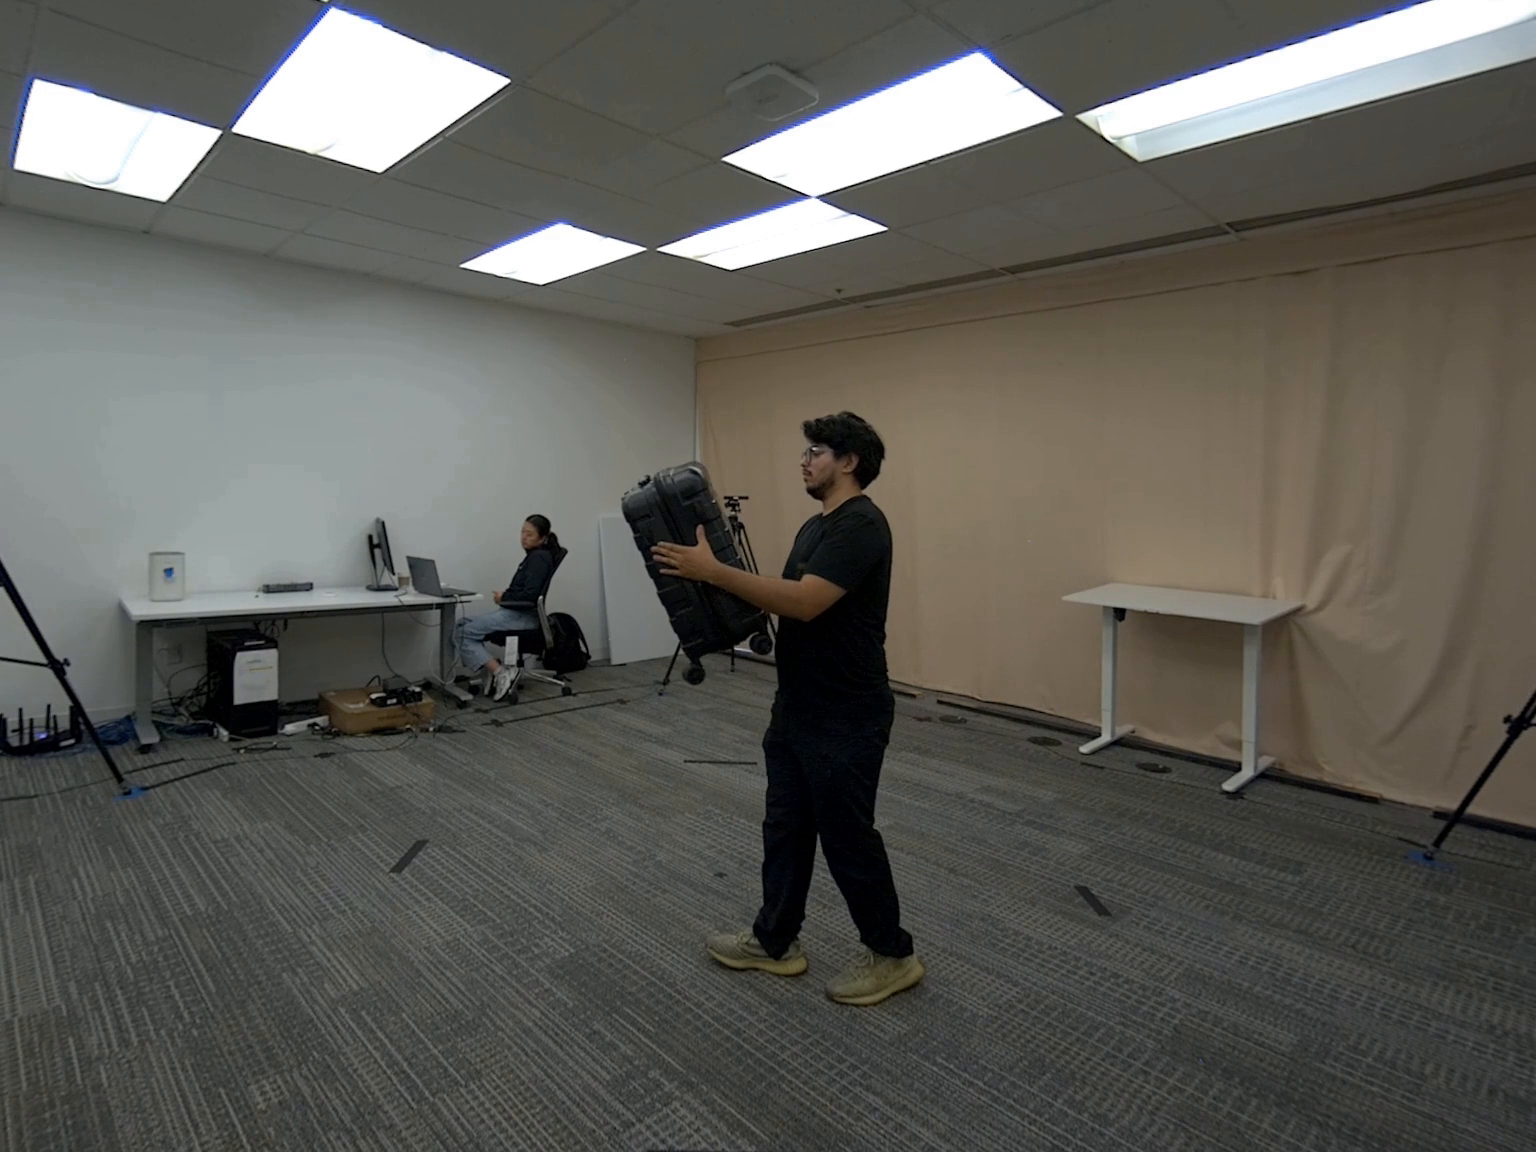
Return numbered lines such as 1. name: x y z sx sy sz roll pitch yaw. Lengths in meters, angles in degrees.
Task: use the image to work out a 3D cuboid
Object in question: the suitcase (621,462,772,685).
1. suitcase: -0.202 -0.042 2.357 0.248 0.545 0.378 -23 8 2
